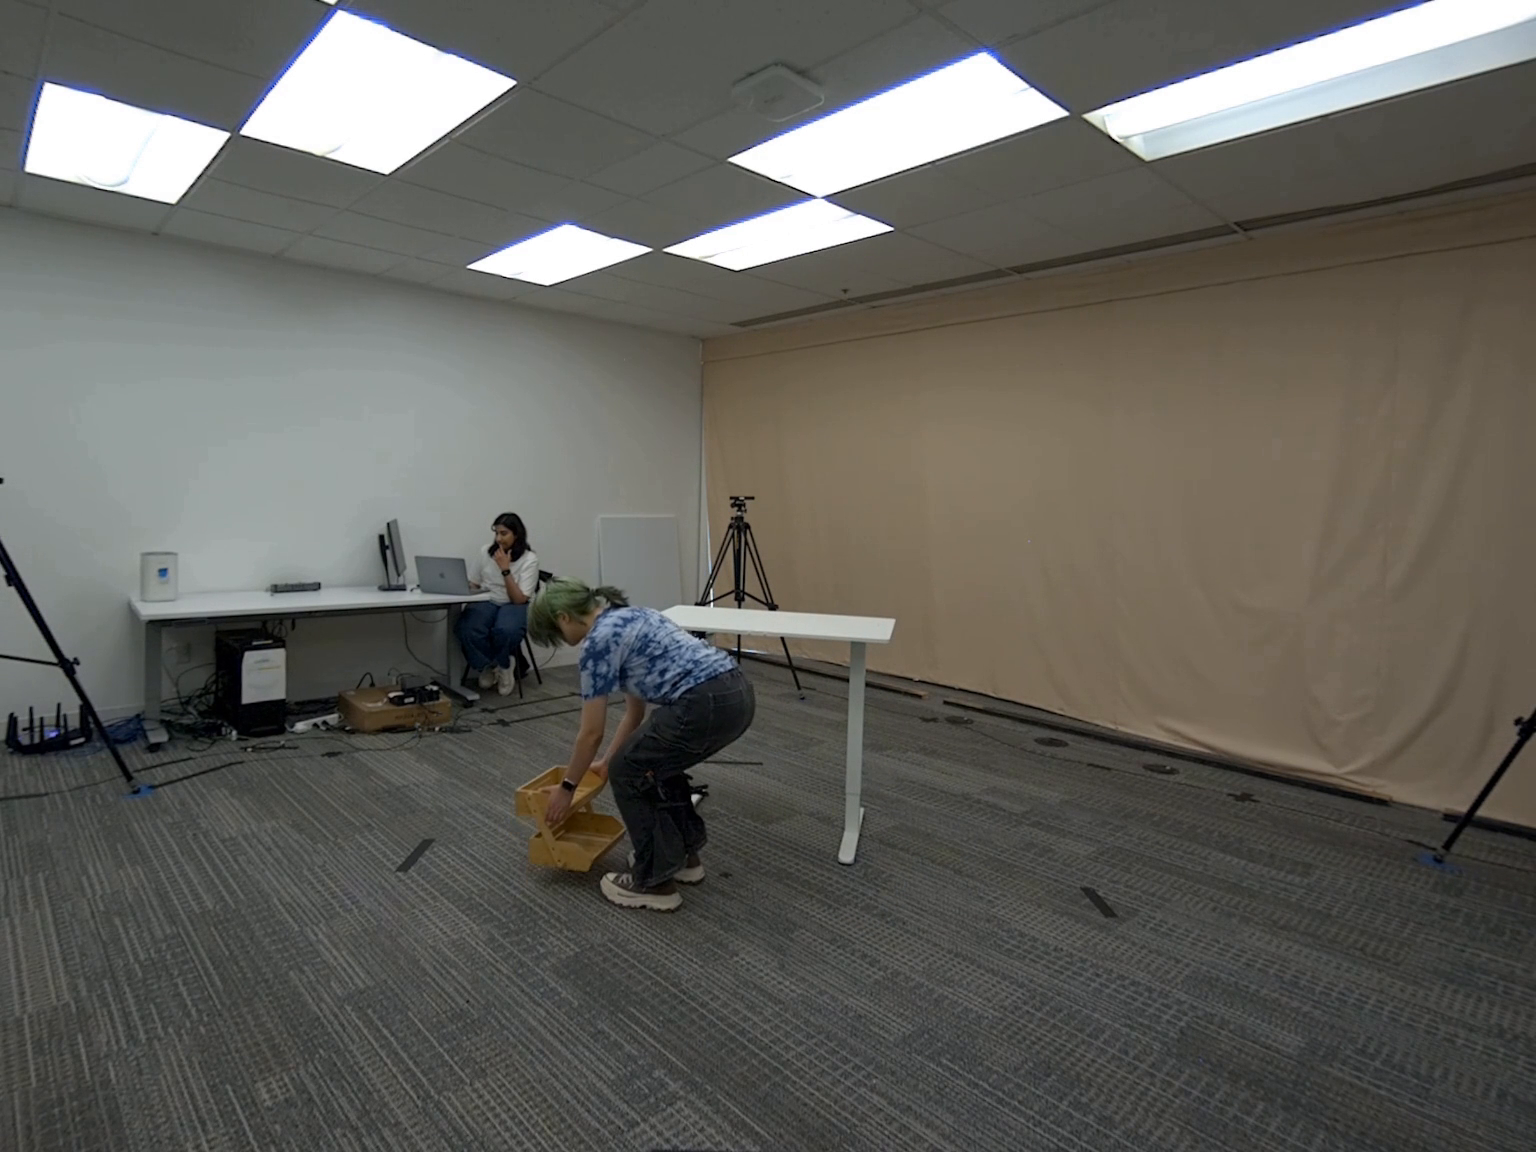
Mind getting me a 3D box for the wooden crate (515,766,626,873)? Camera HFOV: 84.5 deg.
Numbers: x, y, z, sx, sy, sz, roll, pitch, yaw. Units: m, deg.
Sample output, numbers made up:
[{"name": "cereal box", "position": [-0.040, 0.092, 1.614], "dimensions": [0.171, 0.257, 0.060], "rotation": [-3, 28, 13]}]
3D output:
[{"name": "wooden crate", "position": [-0.719, 0.873, 3.093], "dimensions": [0.306, 0.272, 0.321], "rotation": [-1, 4, 15]}]
